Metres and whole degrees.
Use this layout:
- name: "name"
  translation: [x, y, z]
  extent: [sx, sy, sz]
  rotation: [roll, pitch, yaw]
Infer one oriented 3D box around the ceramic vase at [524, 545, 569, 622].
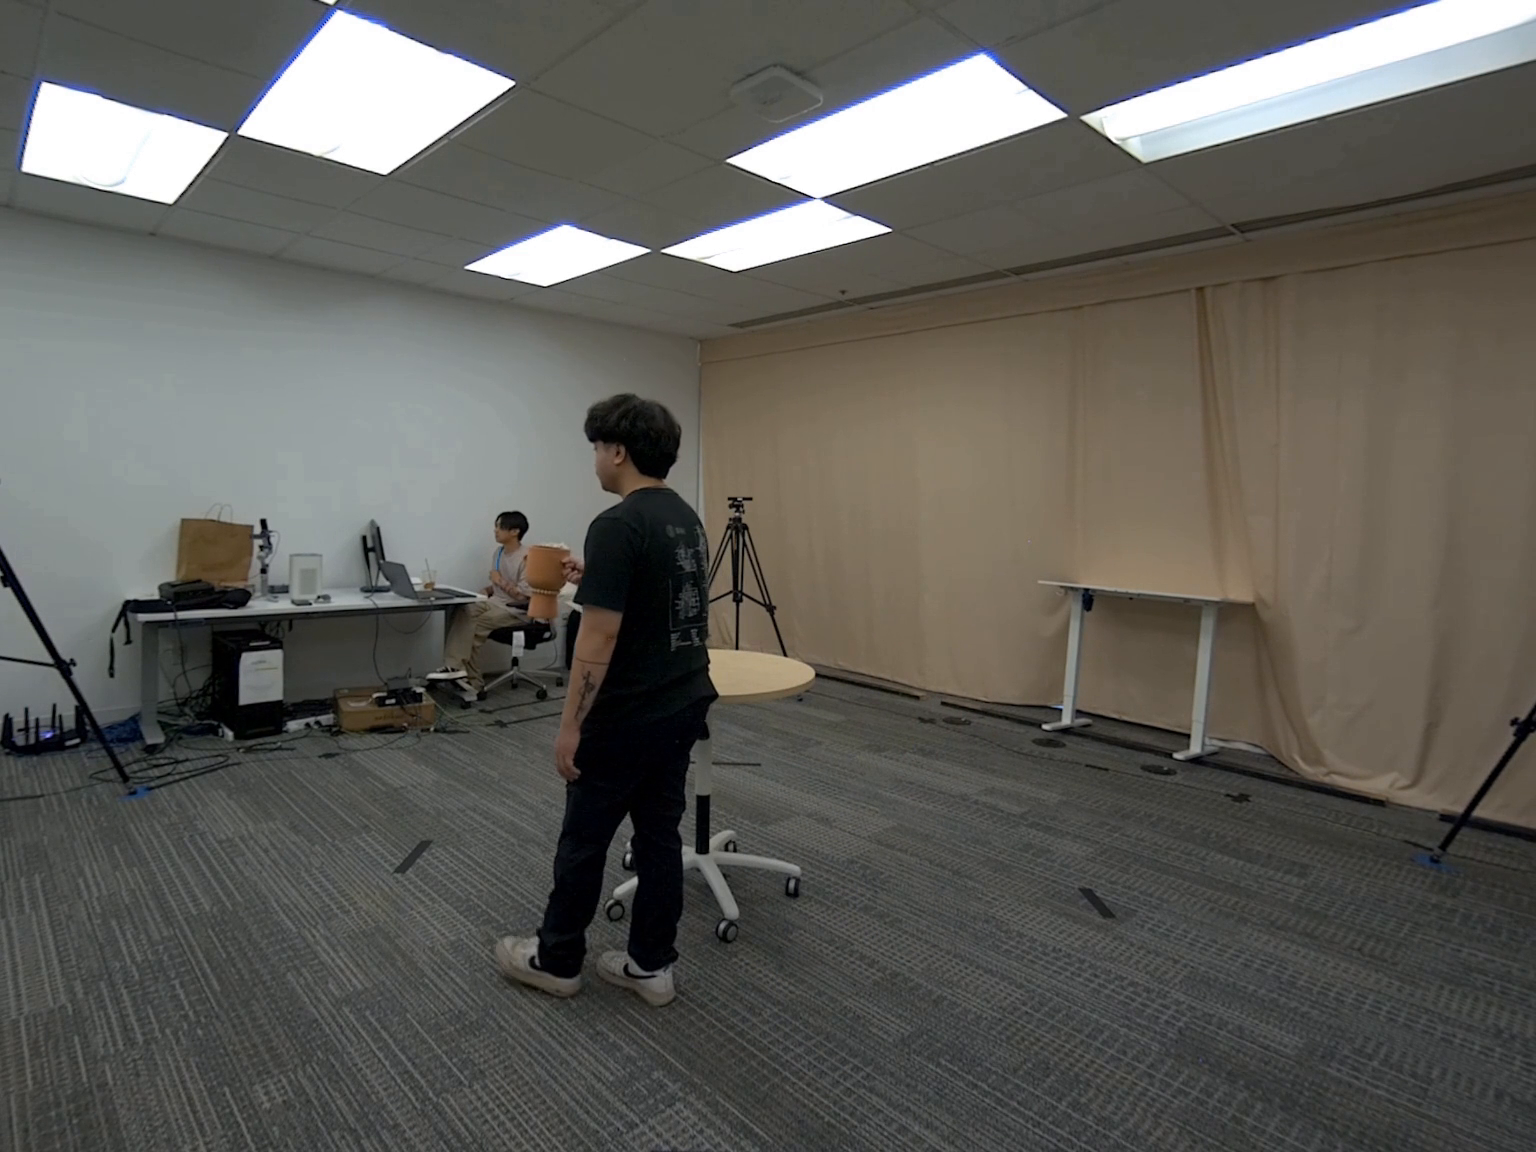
- name: "ceramic vase"
  translation: [-0.701, 0.022, 2.660]
  extent: [0.132, 0.220, 0.162]
  rotation: [6, -3, -29]
